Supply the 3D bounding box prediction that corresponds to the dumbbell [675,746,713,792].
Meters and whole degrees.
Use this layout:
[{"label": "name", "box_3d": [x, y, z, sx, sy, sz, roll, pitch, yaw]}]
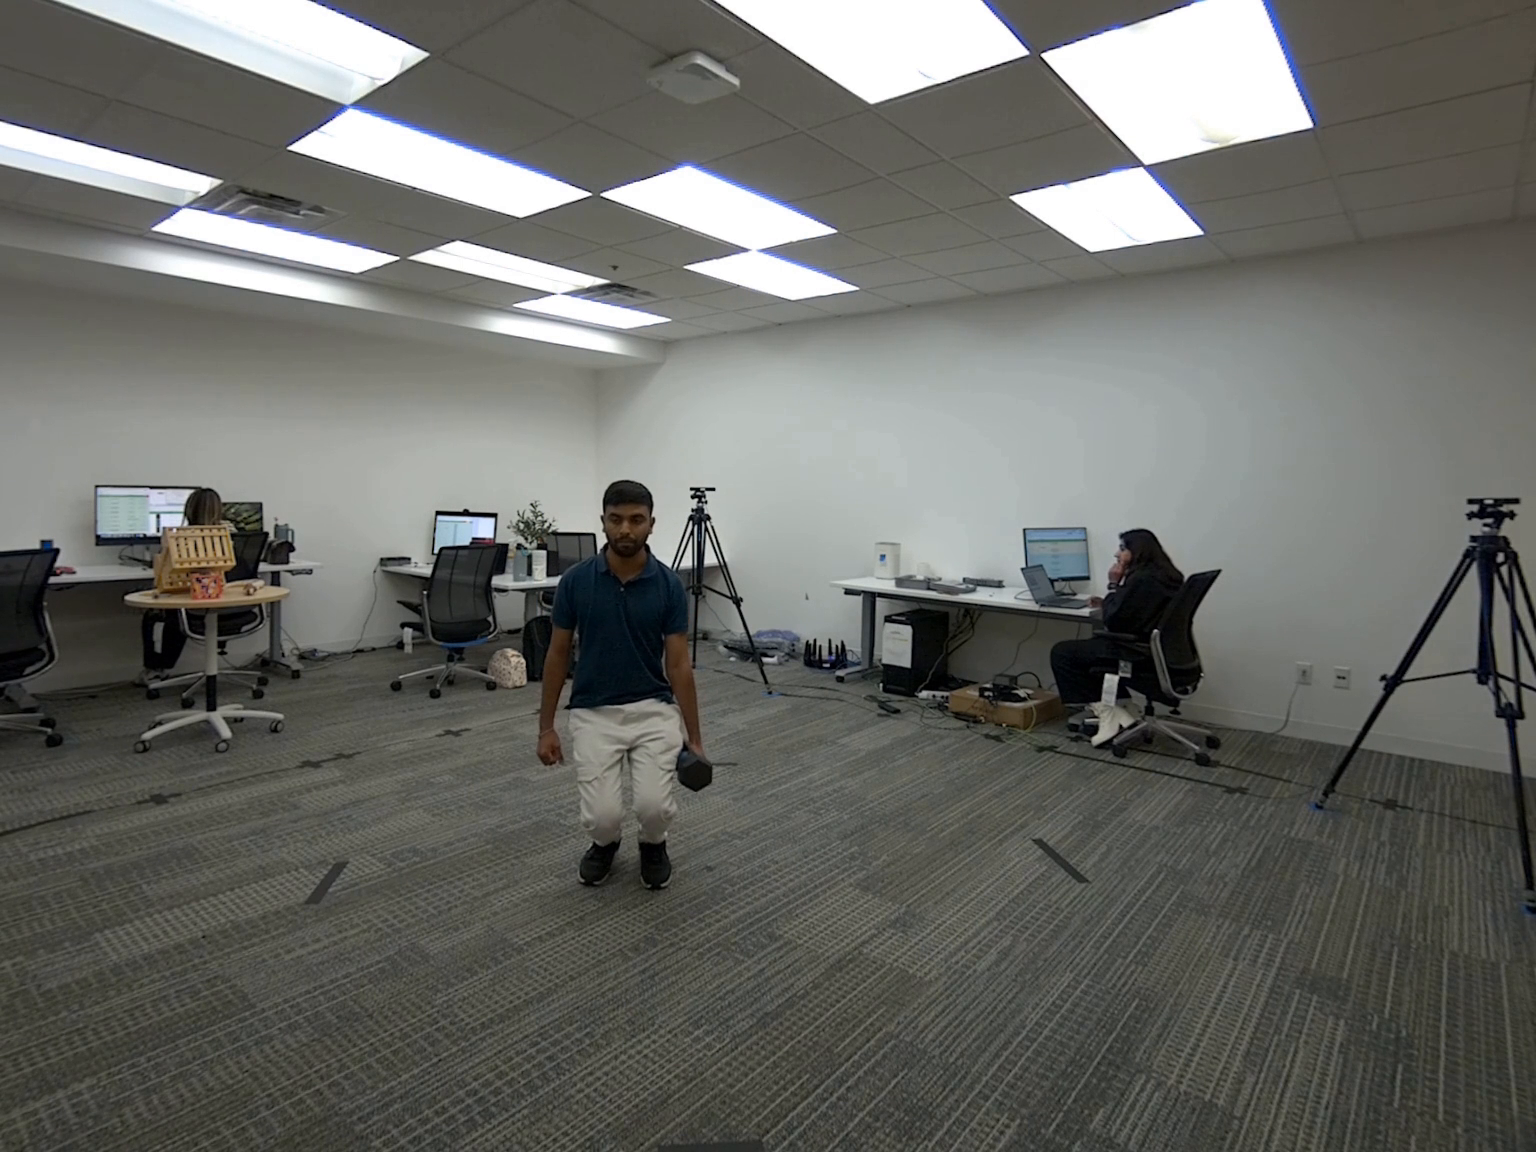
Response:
[{"label": "dumbbell", "box_3d": [-0.296, 0.643, 2.944, 0.107, 0.123, 0.299, 1, 4, -18]}]
